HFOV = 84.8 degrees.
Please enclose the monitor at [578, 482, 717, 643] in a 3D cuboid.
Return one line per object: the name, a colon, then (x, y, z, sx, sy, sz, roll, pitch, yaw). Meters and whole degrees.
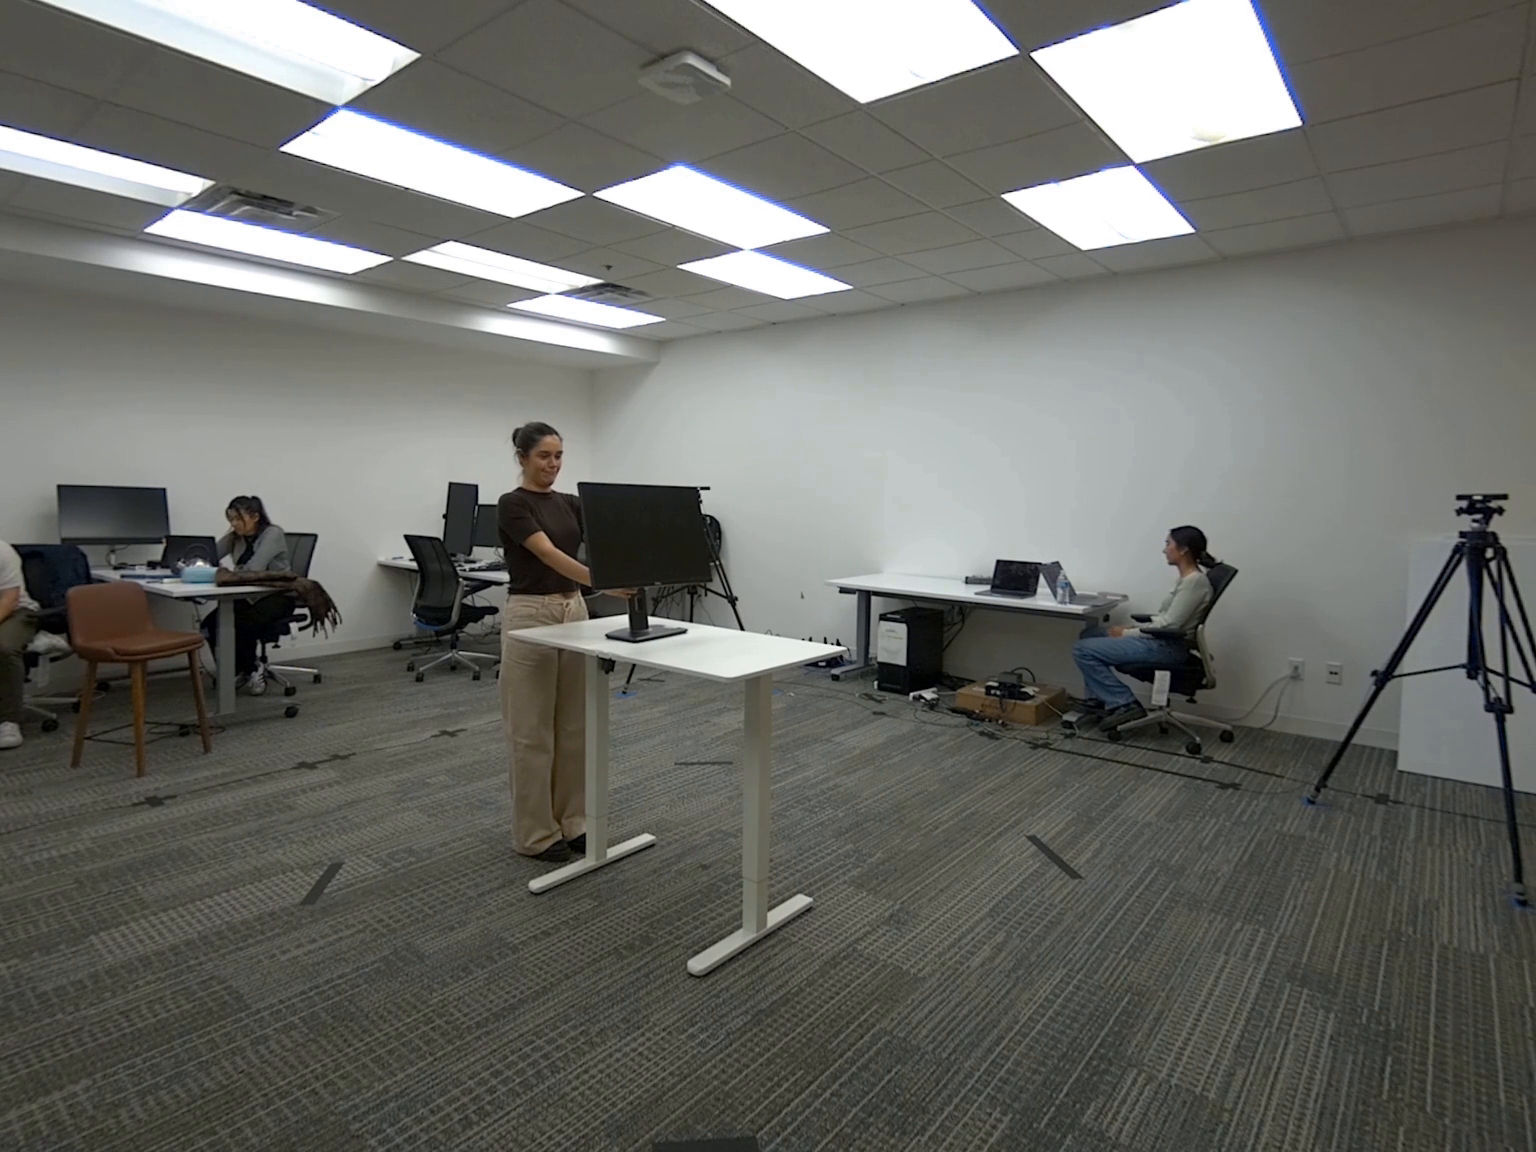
monitor: (-0.432, -0.052, 2.894, 0.193, 0.522, 0.523, 1, 3, 41)
